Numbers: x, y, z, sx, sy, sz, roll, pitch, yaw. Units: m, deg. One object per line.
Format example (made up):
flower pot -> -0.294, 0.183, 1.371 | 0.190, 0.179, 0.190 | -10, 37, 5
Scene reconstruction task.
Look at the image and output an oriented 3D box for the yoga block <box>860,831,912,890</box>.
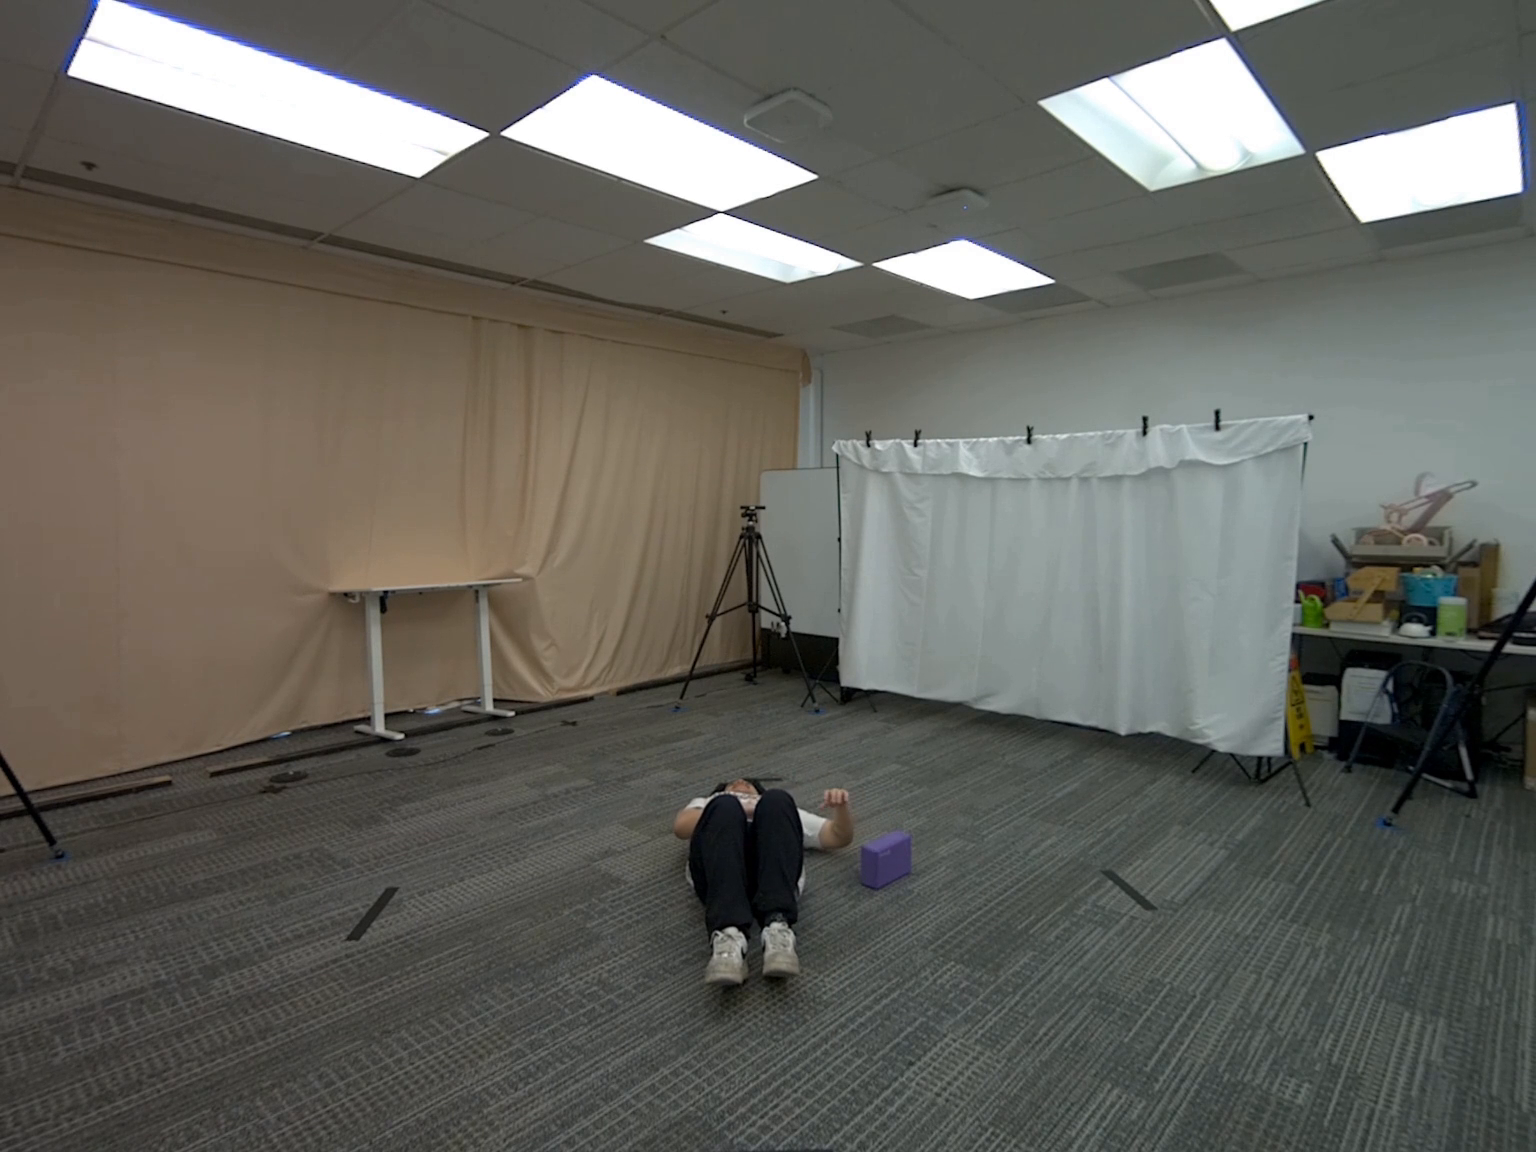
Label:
yoga block -> 0.449, 1.056, 3.132 | 0.079, 0.149, 0.222 | 4, 5, 44
